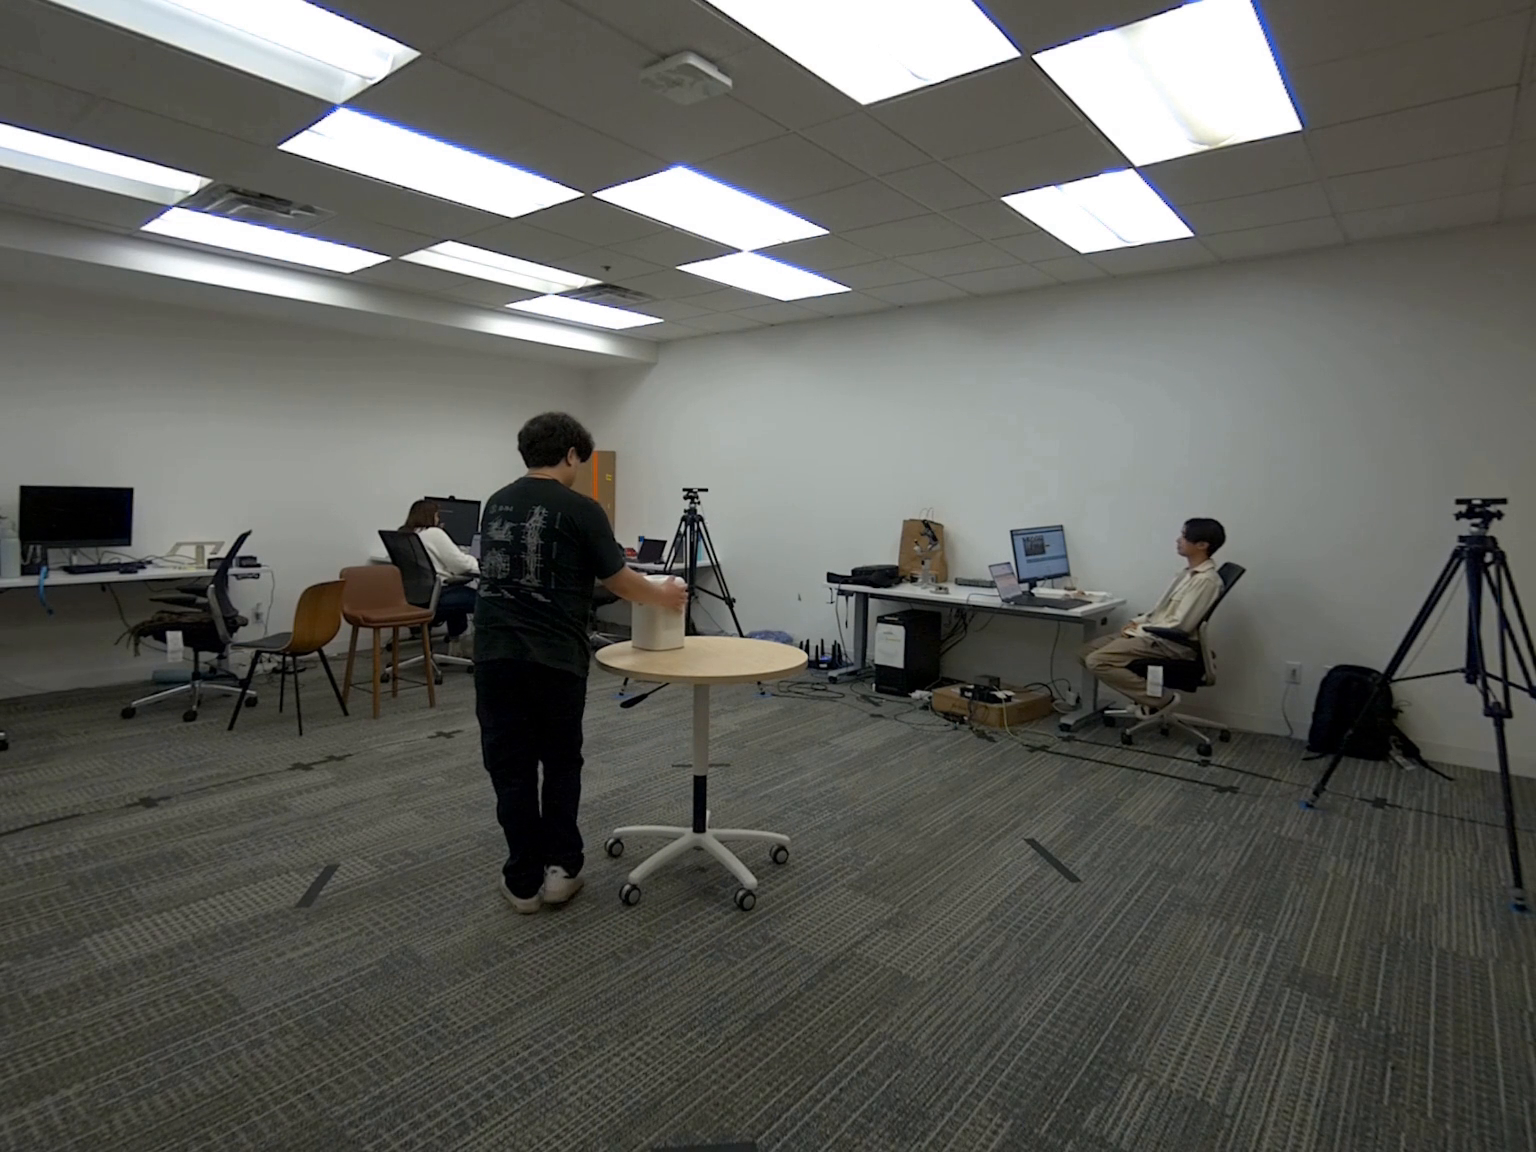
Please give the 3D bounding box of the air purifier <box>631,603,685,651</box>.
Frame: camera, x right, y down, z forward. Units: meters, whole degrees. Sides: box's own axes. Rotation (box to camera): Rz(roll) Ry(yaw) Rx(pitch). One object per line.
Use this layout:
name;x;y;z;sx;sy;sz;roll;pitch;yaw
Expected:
air purifier;-0.421;0.133;3.205;0.177;0.264;0.166;3;5;42
